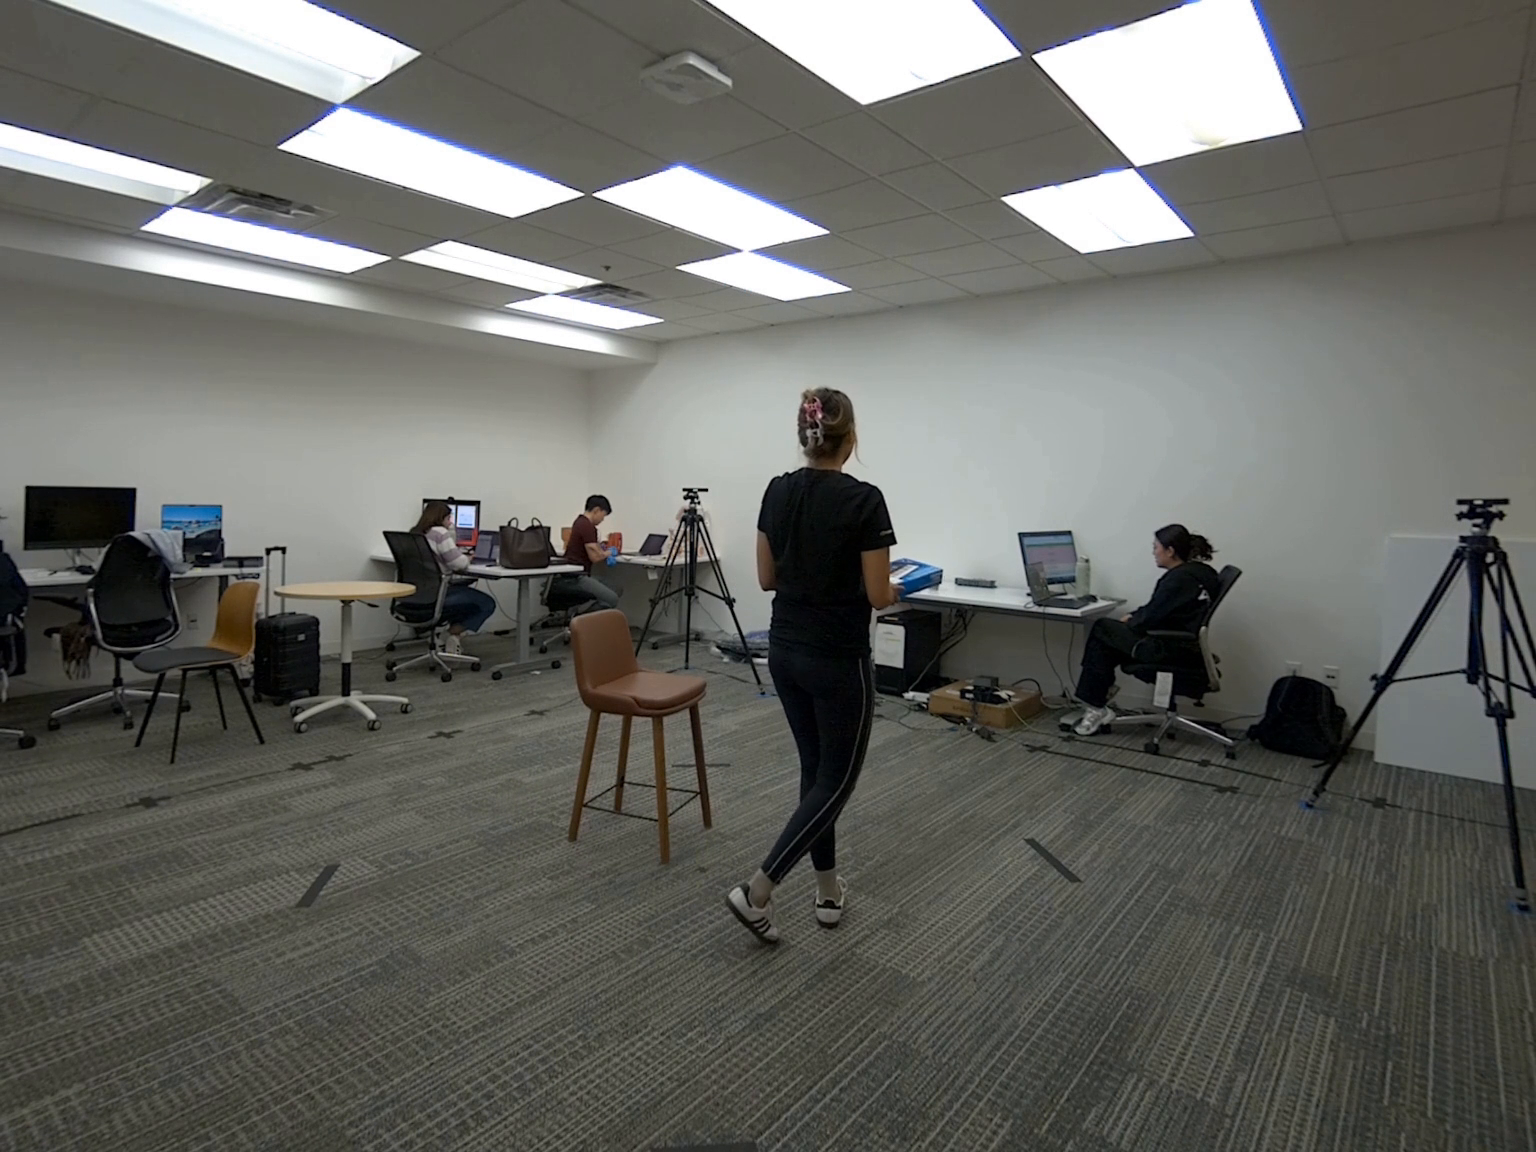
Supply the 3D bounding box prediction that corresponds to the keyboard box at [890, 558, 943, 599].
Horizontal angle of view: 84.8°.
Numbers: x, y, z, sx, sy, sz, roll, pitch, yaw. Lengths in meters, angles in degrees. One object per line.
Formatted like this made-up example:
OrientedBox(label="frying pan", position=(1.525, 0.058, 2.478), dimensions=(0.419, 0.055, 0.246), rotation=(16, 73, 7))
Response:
OrientedBox(label="keyboard box", position=(0.418, 0.020, 3.013), dimensions=(0.426, 0.058, 0.183), rotation=(-14, 23, -42))
